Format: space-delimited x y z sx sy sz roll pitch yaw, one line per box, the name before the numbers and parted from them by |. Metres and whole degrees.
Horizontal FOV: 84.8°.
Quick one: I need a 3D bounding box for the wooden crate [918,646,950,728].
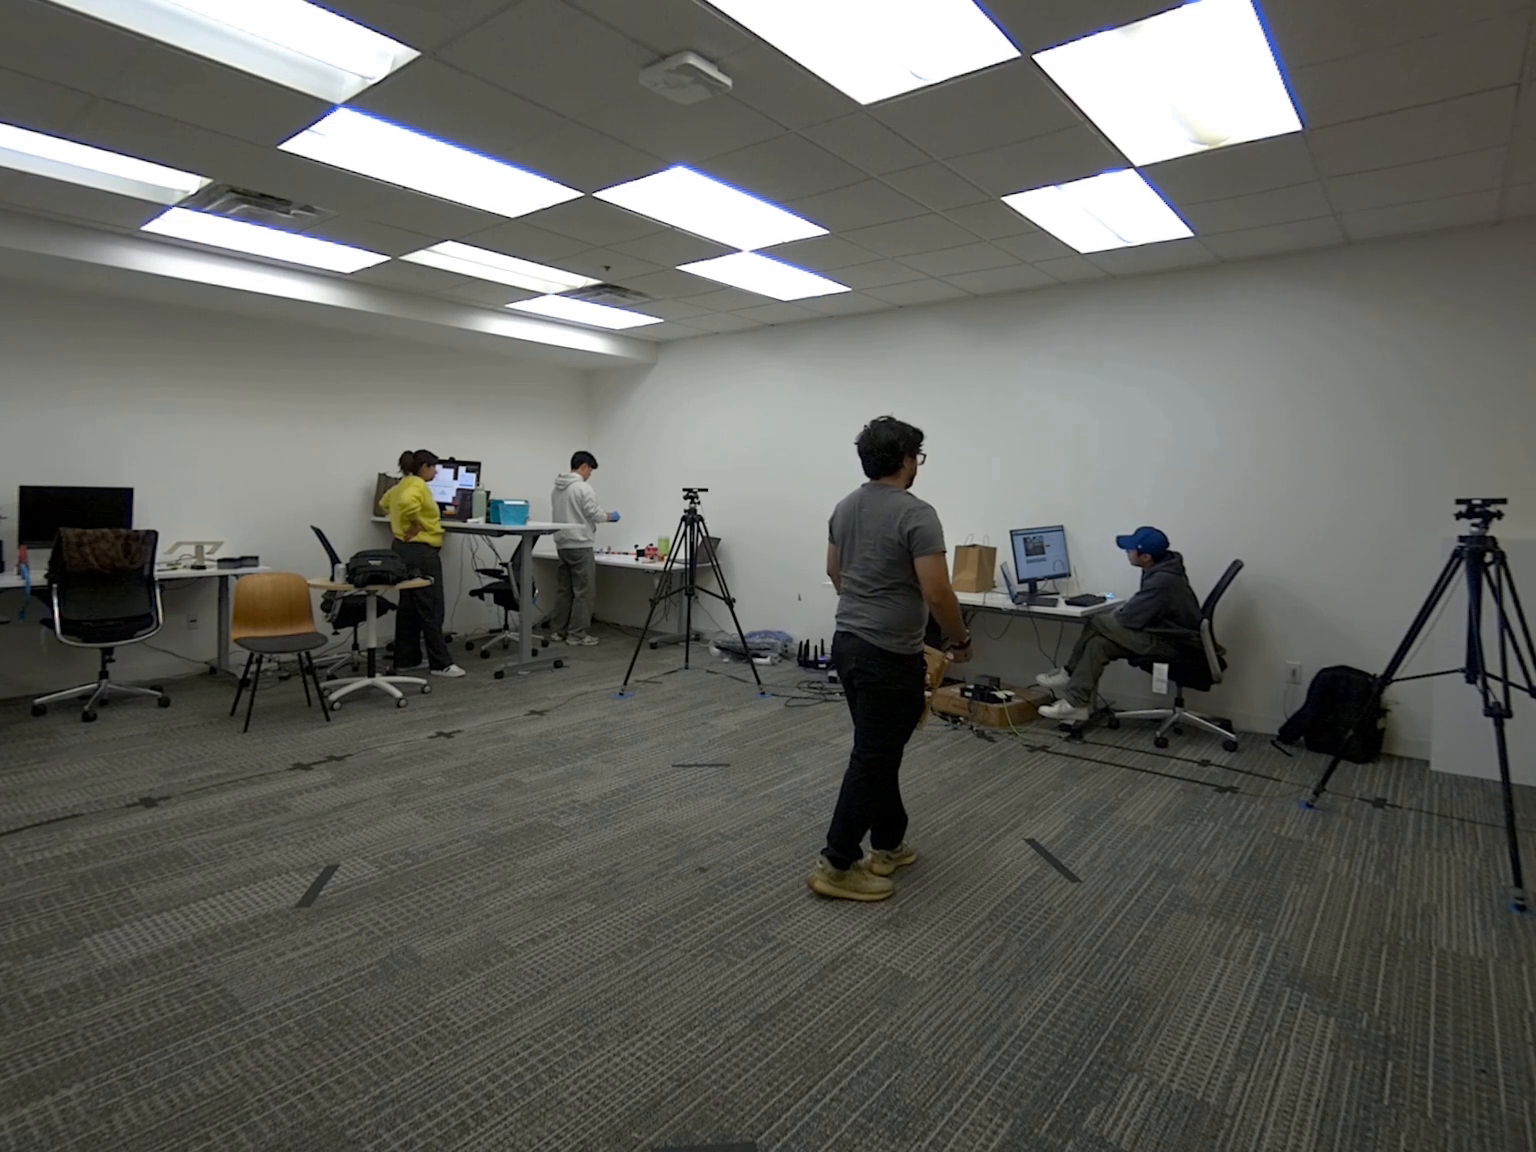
wooden crate | 0.503 0.398 3.396 0.334 0.274 0.292 24 -16 23
